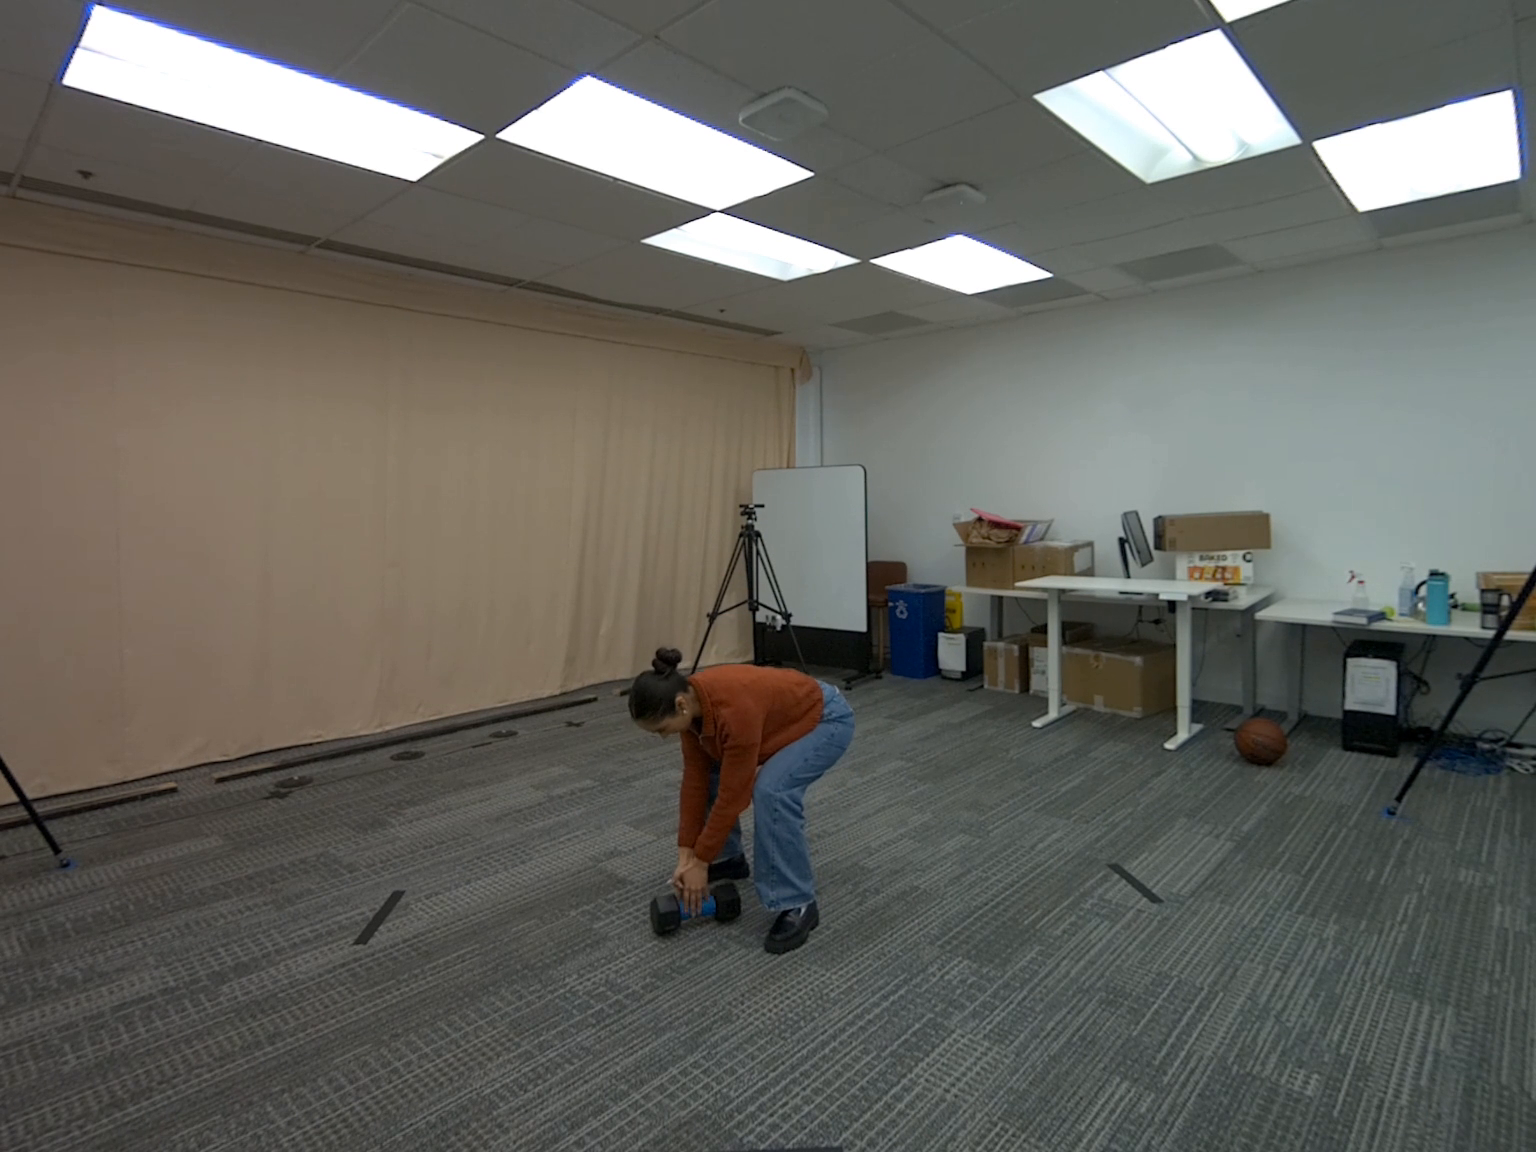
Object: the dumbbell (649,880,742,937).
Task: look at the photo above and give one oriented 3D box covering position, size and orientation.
[{"bbox_3d":[-0.237,1.095,2.790,0.287,0.123,0.111,-3,-2,-22],"label":"dumbbell"}]
